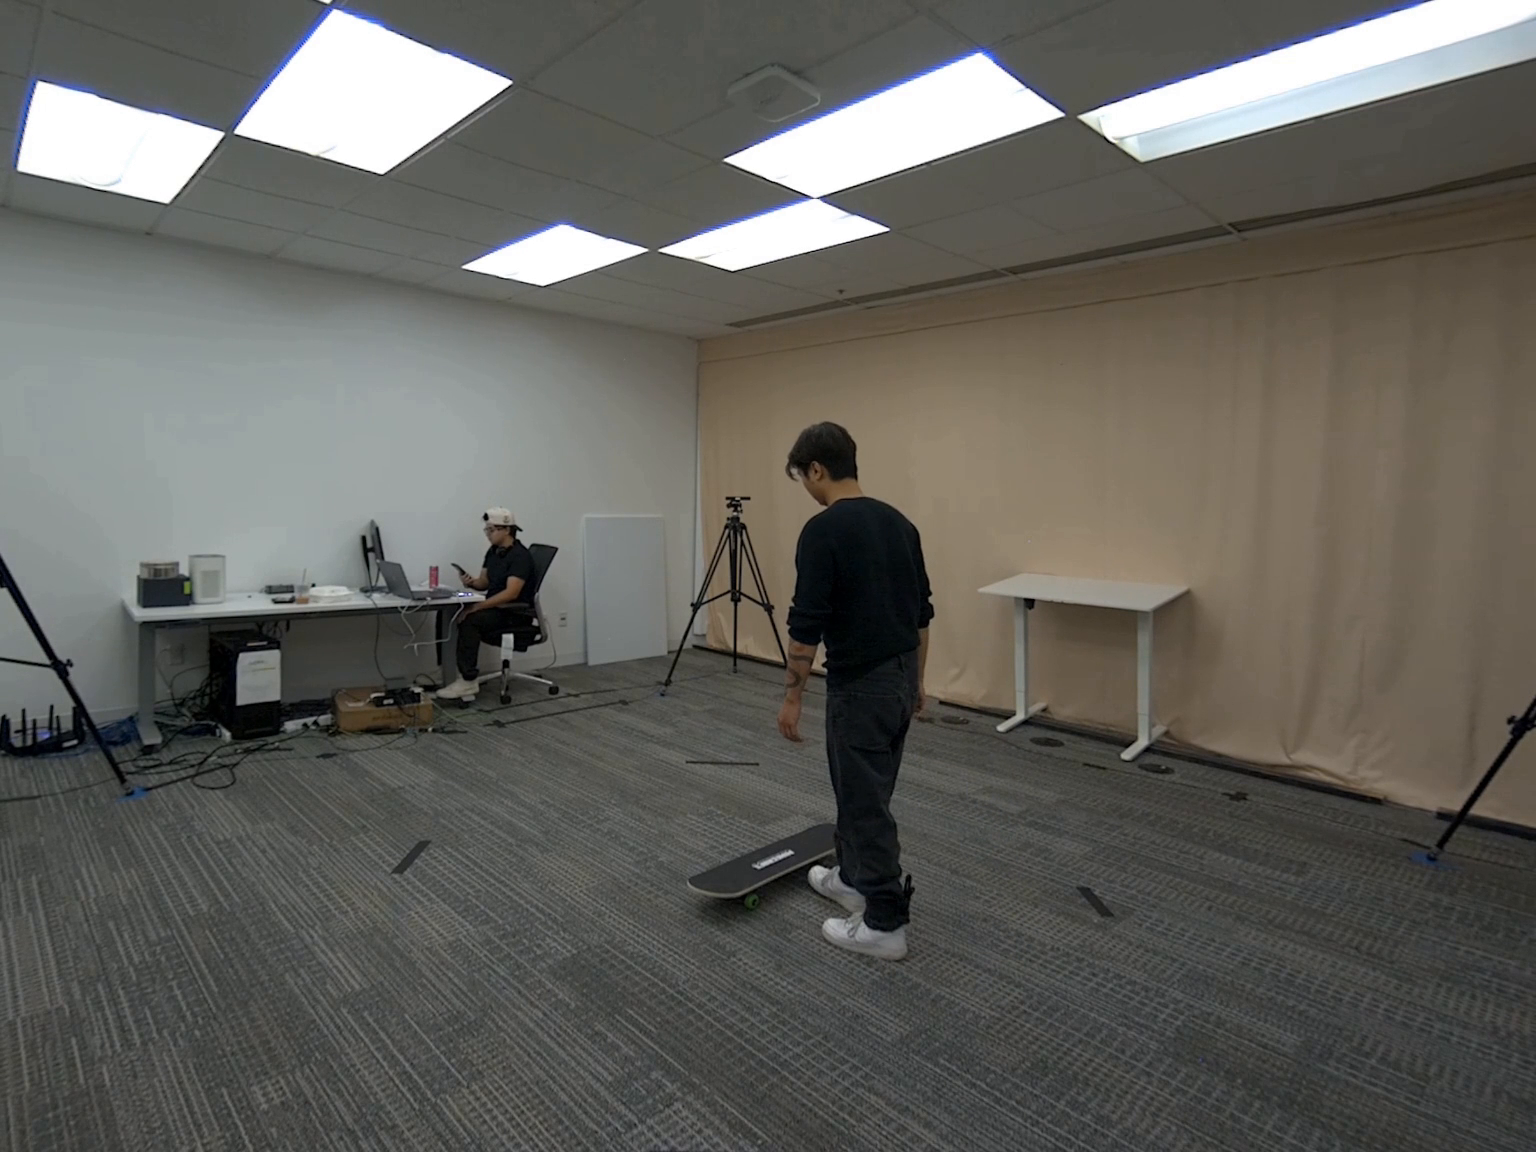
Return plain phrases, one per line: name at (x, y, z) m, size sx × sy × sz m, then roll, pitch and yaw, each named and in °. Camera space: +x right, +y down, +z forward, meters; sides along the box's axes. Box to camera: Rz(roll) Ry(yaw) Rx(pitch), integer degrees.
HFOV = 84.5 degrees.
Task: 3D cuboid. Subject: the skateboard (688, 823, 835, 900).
skateboard at (0.015, 1.055, 3.044) m, size 0.198 × 0.110 × 0.768 m, roll 5°, pitch 6°, yaw 42°
